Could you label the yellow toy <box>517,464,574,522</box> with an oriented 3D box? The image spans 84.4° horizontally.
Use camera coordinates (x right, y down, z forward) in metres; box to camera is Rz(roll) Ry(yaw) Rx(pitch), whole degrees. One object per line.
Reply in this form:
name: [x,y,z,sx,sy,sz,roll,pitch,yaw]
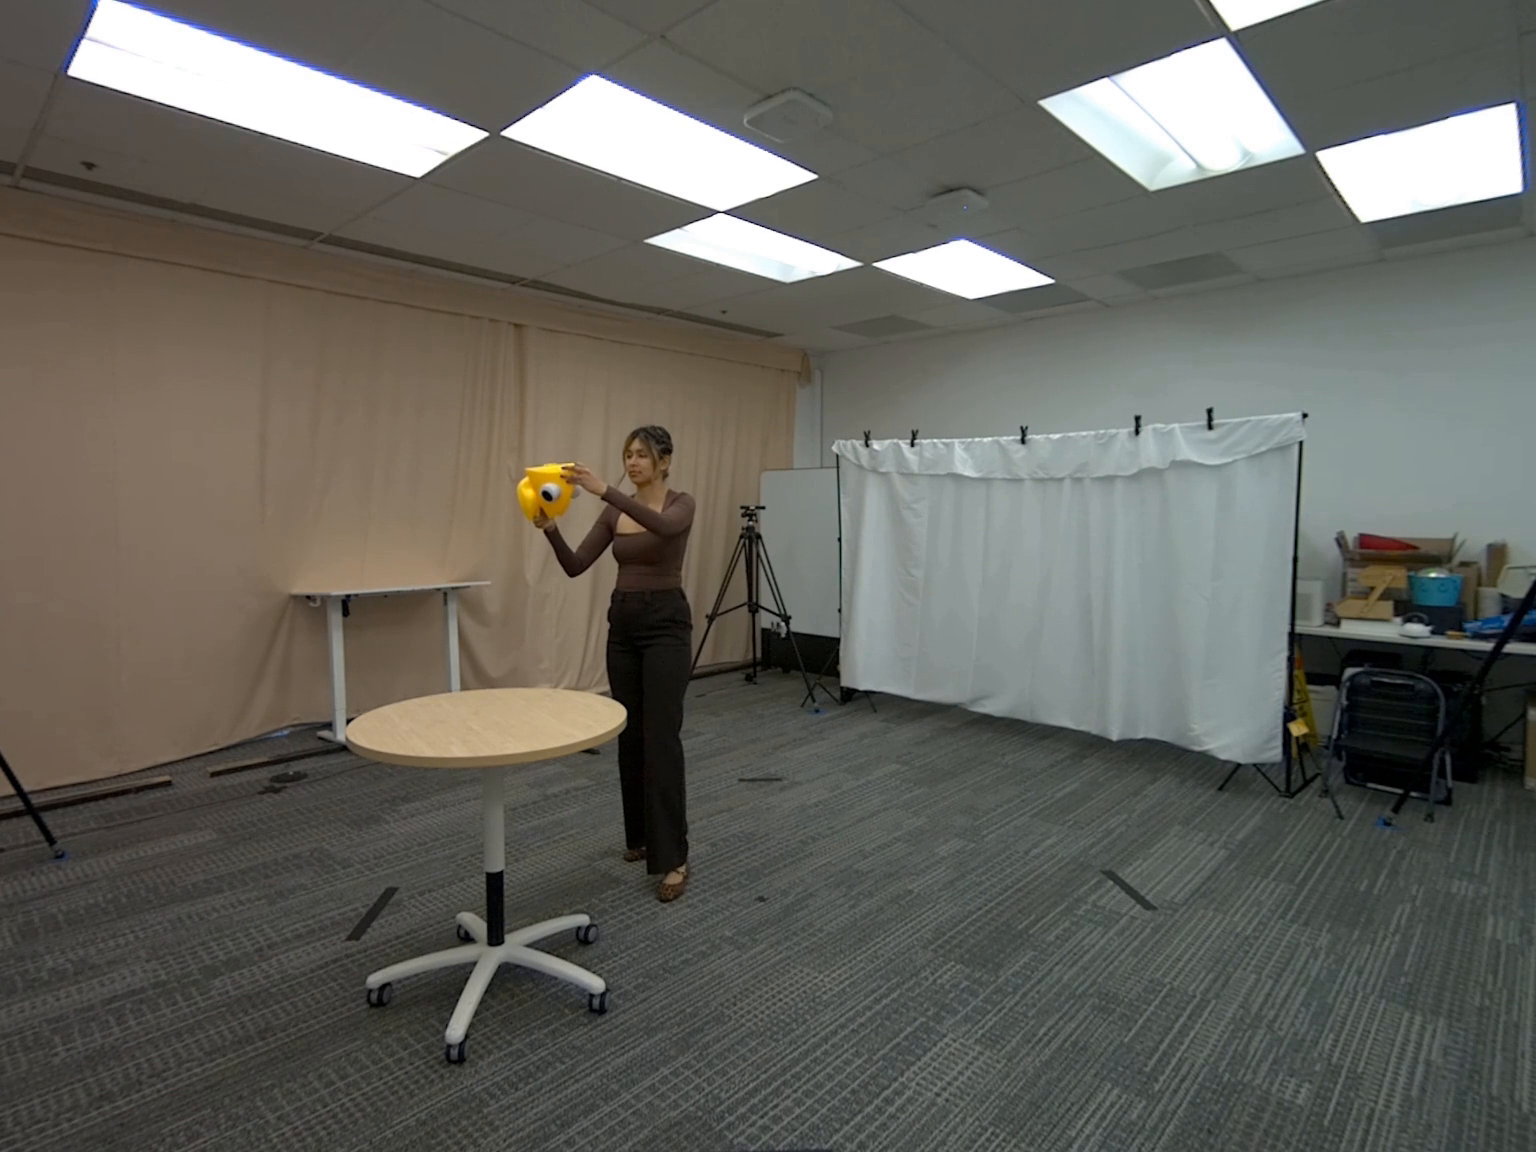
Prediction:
yellow toy: [-0.733,-0.305,2.971,0.238,0.192,0.199,-4,7,44]
